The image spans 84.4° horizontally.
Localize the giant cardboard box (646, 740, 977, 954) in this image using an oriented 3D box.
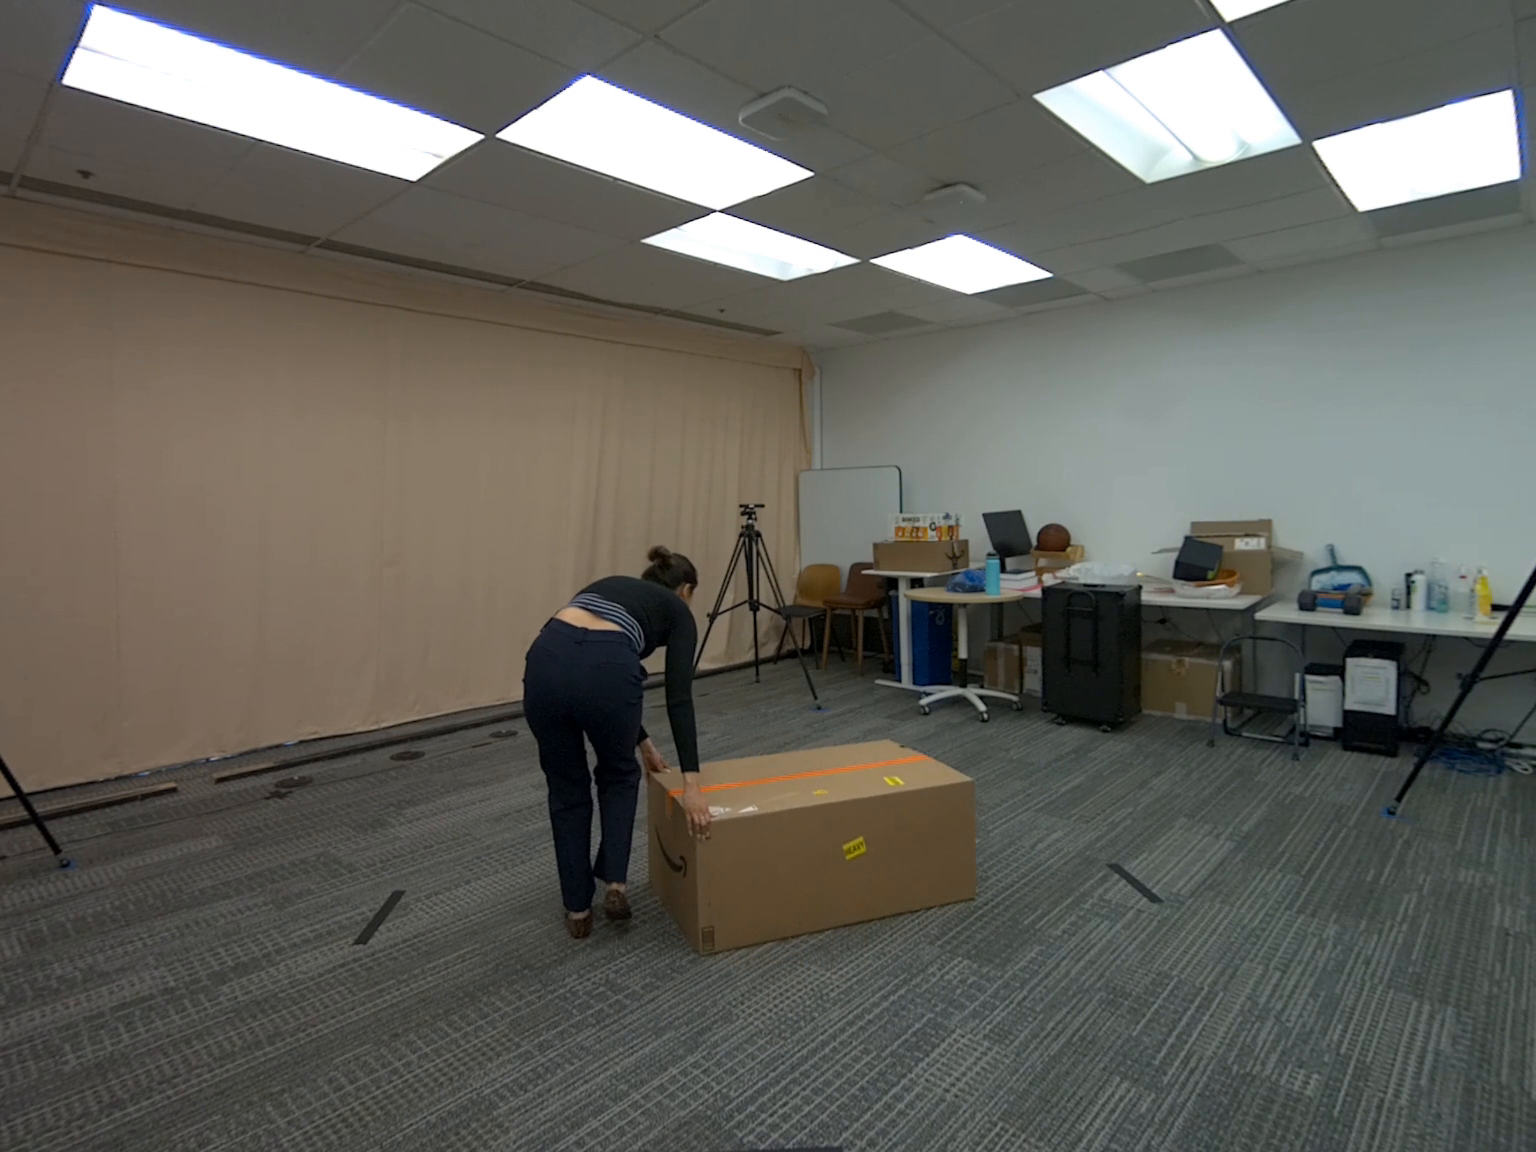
[{"bbox_3d":[0.142,0.918,3.026,1.005,0.425,0.591,-3,5,-21],"label":"giant cardboard box"}]
